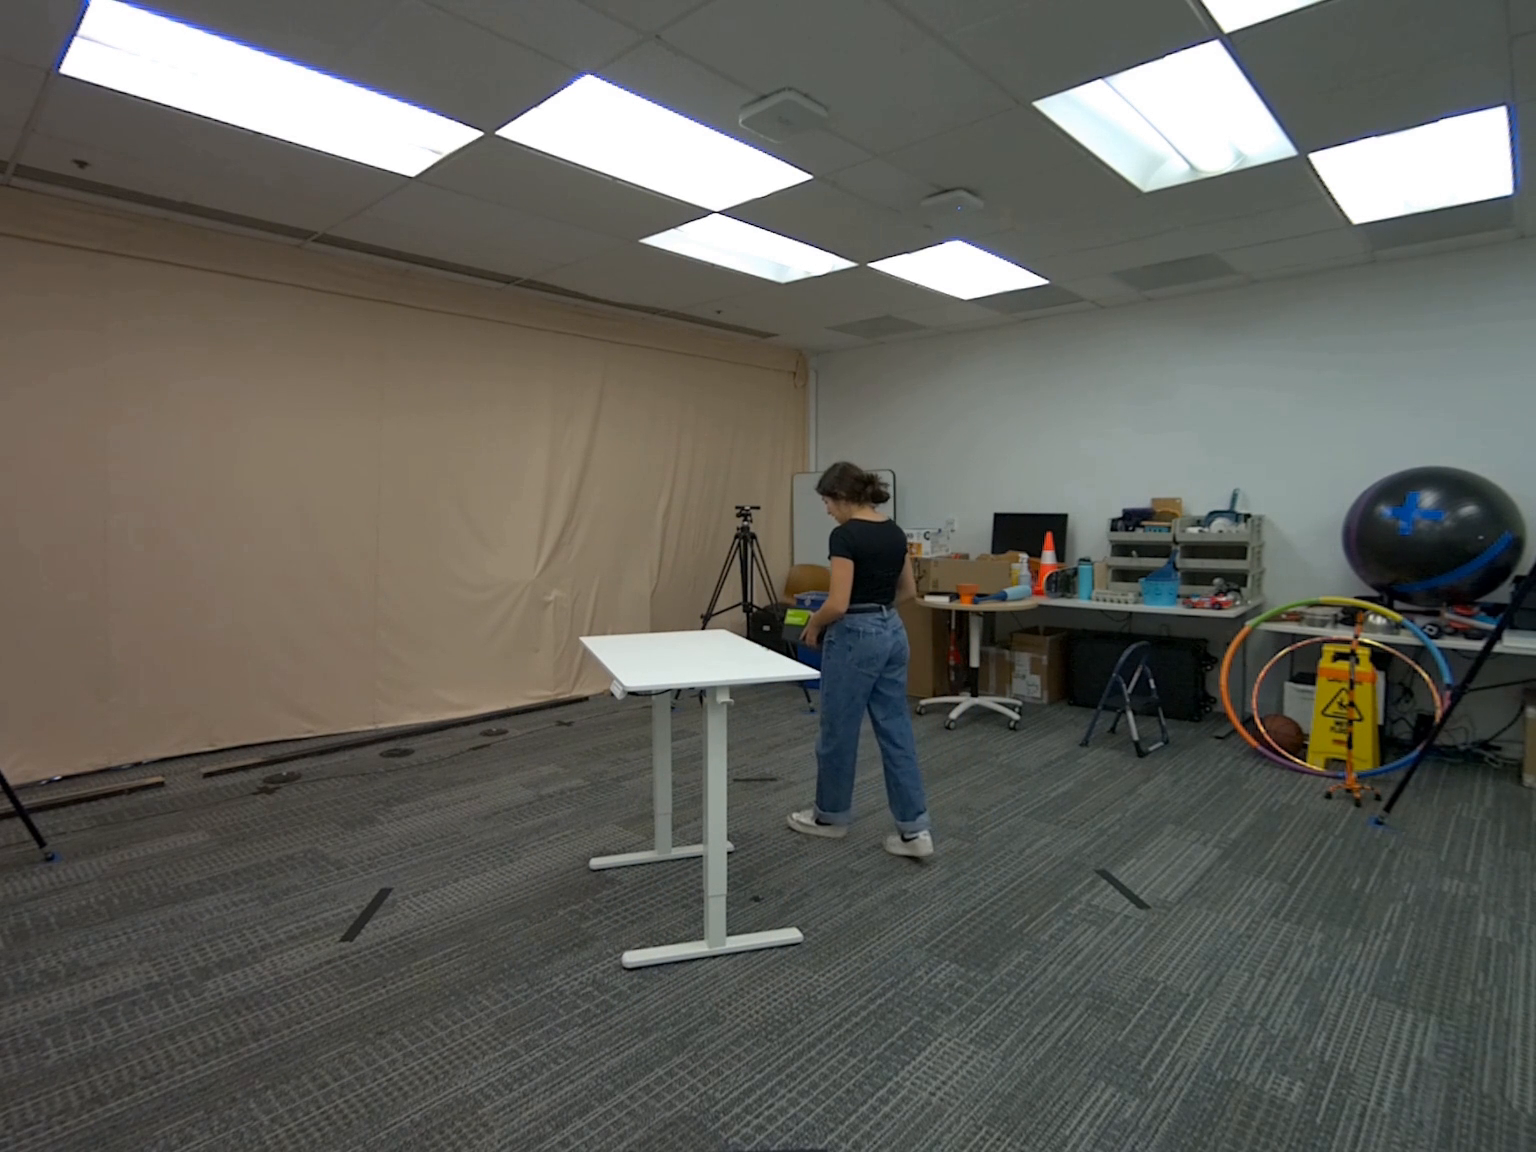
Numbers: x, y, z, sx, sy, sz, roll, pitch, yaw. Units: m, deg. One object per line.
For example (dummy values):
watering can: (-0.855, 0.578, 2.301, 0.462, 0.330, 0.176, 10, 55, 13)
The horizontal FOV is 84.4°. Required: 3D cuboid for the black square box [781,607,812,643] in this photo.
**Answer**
black square box: (0.220, 0.232, 3.656, 0.235, 0.156, 0.209, 4, -15, 41)
